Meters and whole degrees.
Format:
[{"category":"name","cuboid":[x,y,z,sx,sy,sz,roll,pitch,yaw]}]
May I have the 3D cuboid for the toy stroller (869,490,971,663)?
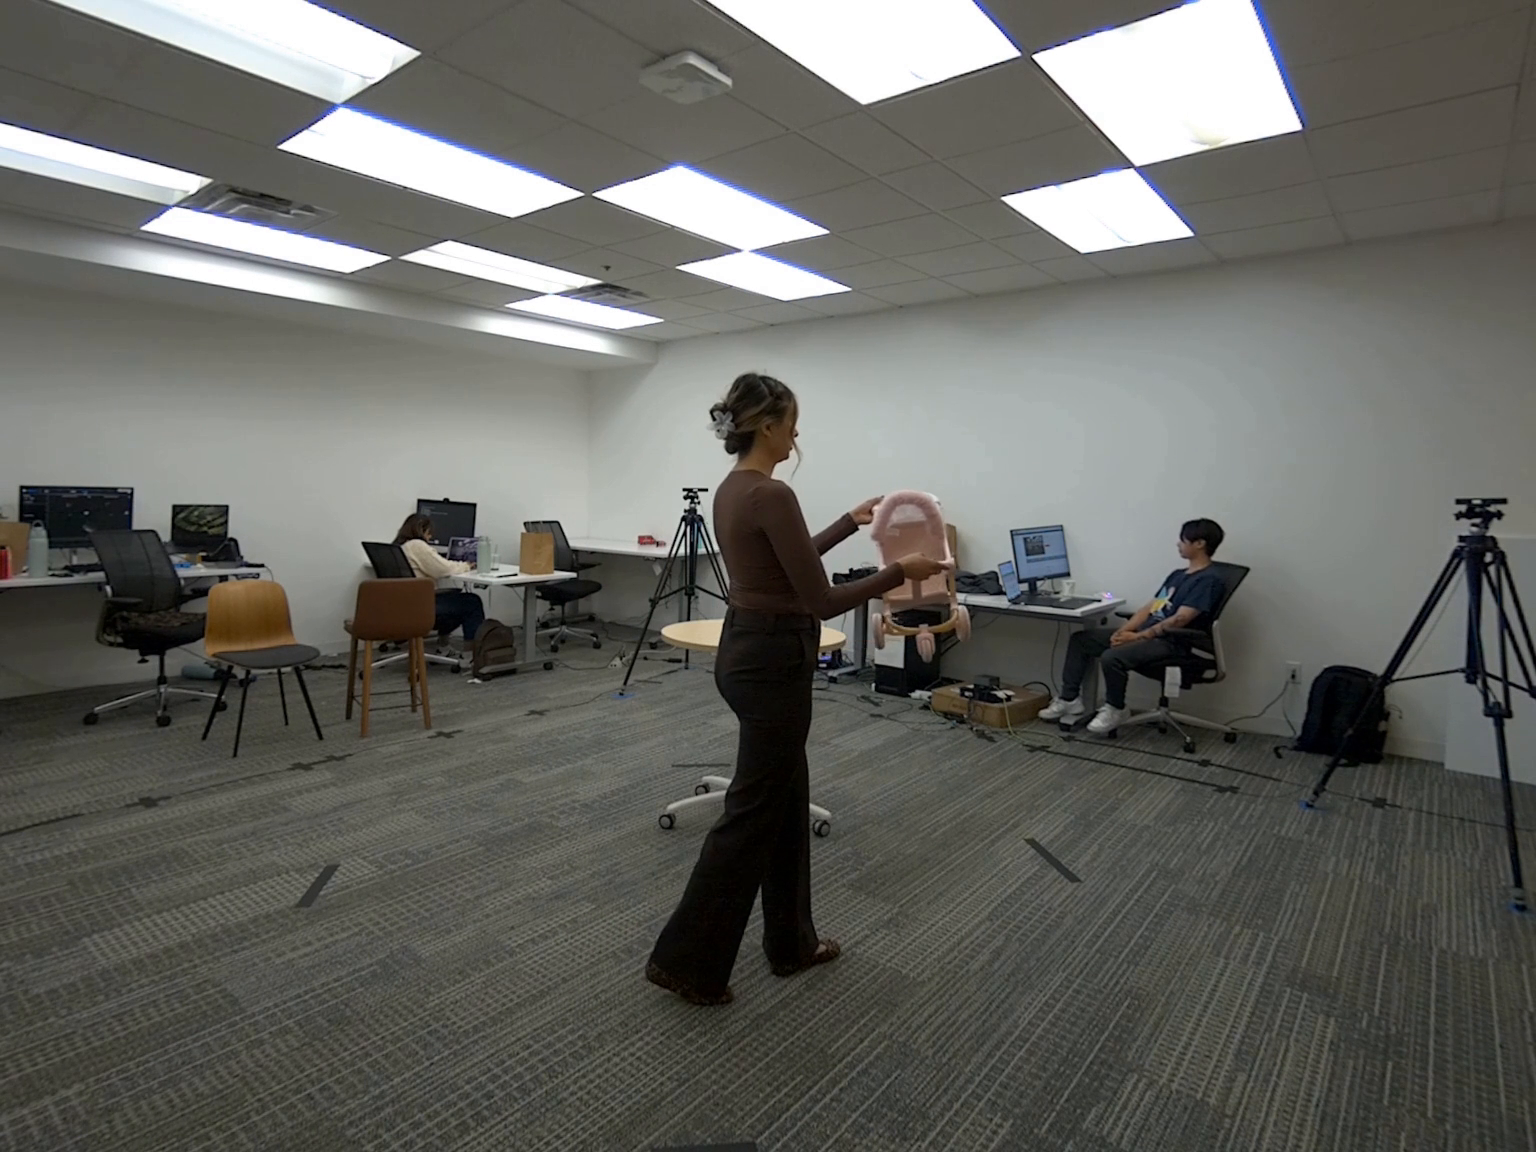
[{"category":"toy stroller","cuboid":[0.411,-0.011,2.473,0.285,0.541,0.333,-7,-11,13]}]
